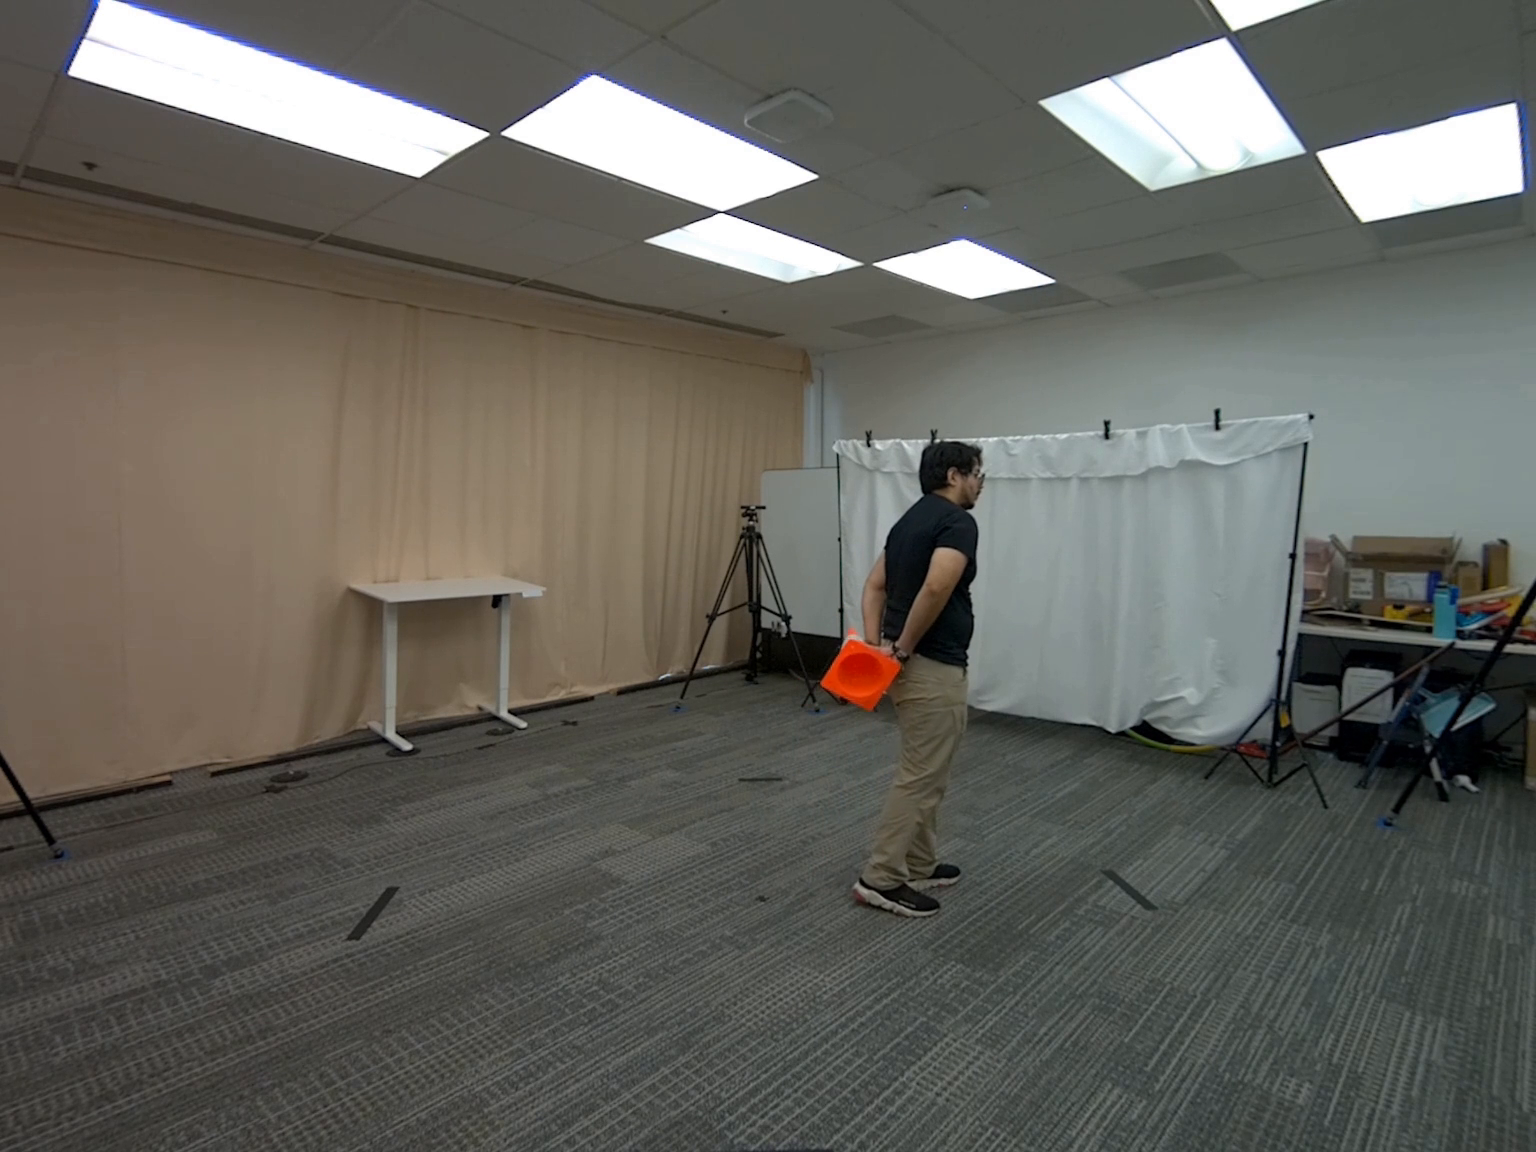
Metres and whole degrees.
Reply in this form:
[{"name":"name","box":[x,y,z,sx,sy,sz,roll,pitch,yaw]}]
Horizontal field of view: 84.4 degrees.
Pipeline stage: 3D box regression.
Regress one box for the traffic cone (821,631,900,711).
[{"name":"traffic cone","box":[0.323,0.285,2.980,0.203,0.205,0.385,31,13,-4]}]
